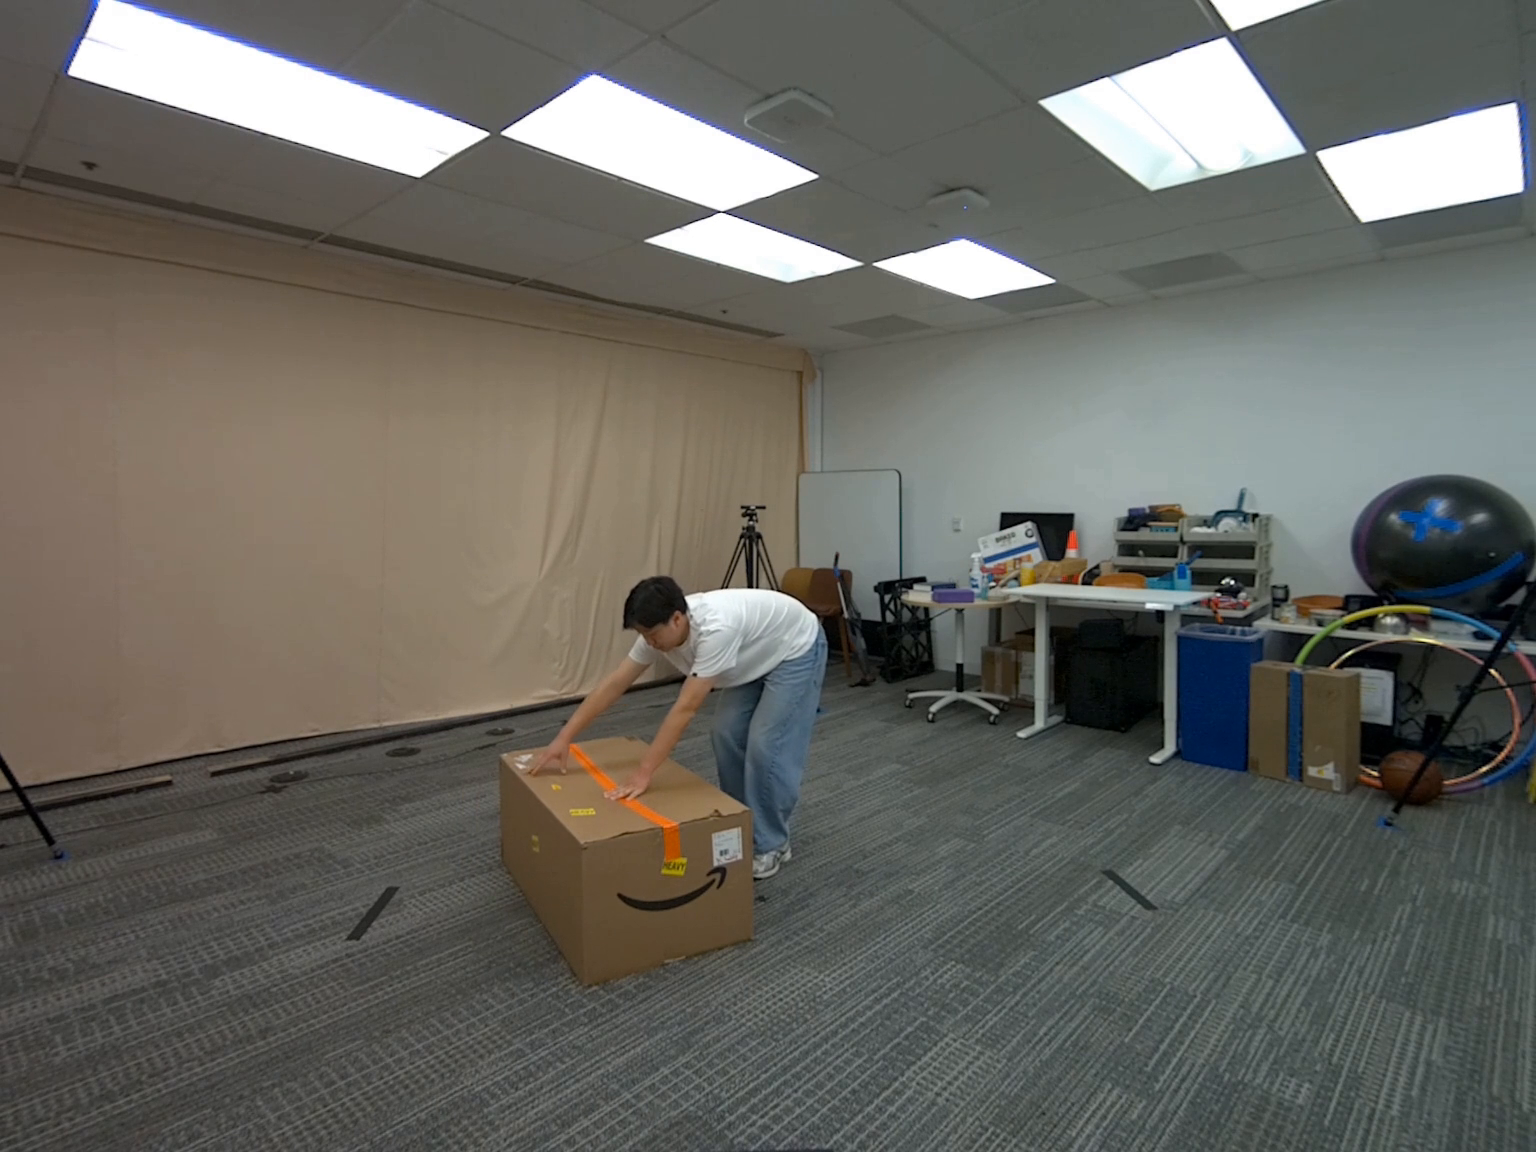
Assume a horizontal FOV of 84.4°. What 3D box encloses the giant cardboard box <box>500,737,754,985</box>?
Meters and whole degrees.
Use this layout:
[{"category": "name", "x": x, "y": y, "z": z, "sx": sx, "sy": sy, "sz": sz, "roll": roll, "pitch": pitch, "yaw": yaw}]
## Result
[{"category": "giant cardboard box", "x": -0.551, "y": 0.934, "z": 3.006, "sx": 0.562, "sy": 0.425, "sz": 1.055, "roll": -3, "pitch": 5, "yaw": -30}]
